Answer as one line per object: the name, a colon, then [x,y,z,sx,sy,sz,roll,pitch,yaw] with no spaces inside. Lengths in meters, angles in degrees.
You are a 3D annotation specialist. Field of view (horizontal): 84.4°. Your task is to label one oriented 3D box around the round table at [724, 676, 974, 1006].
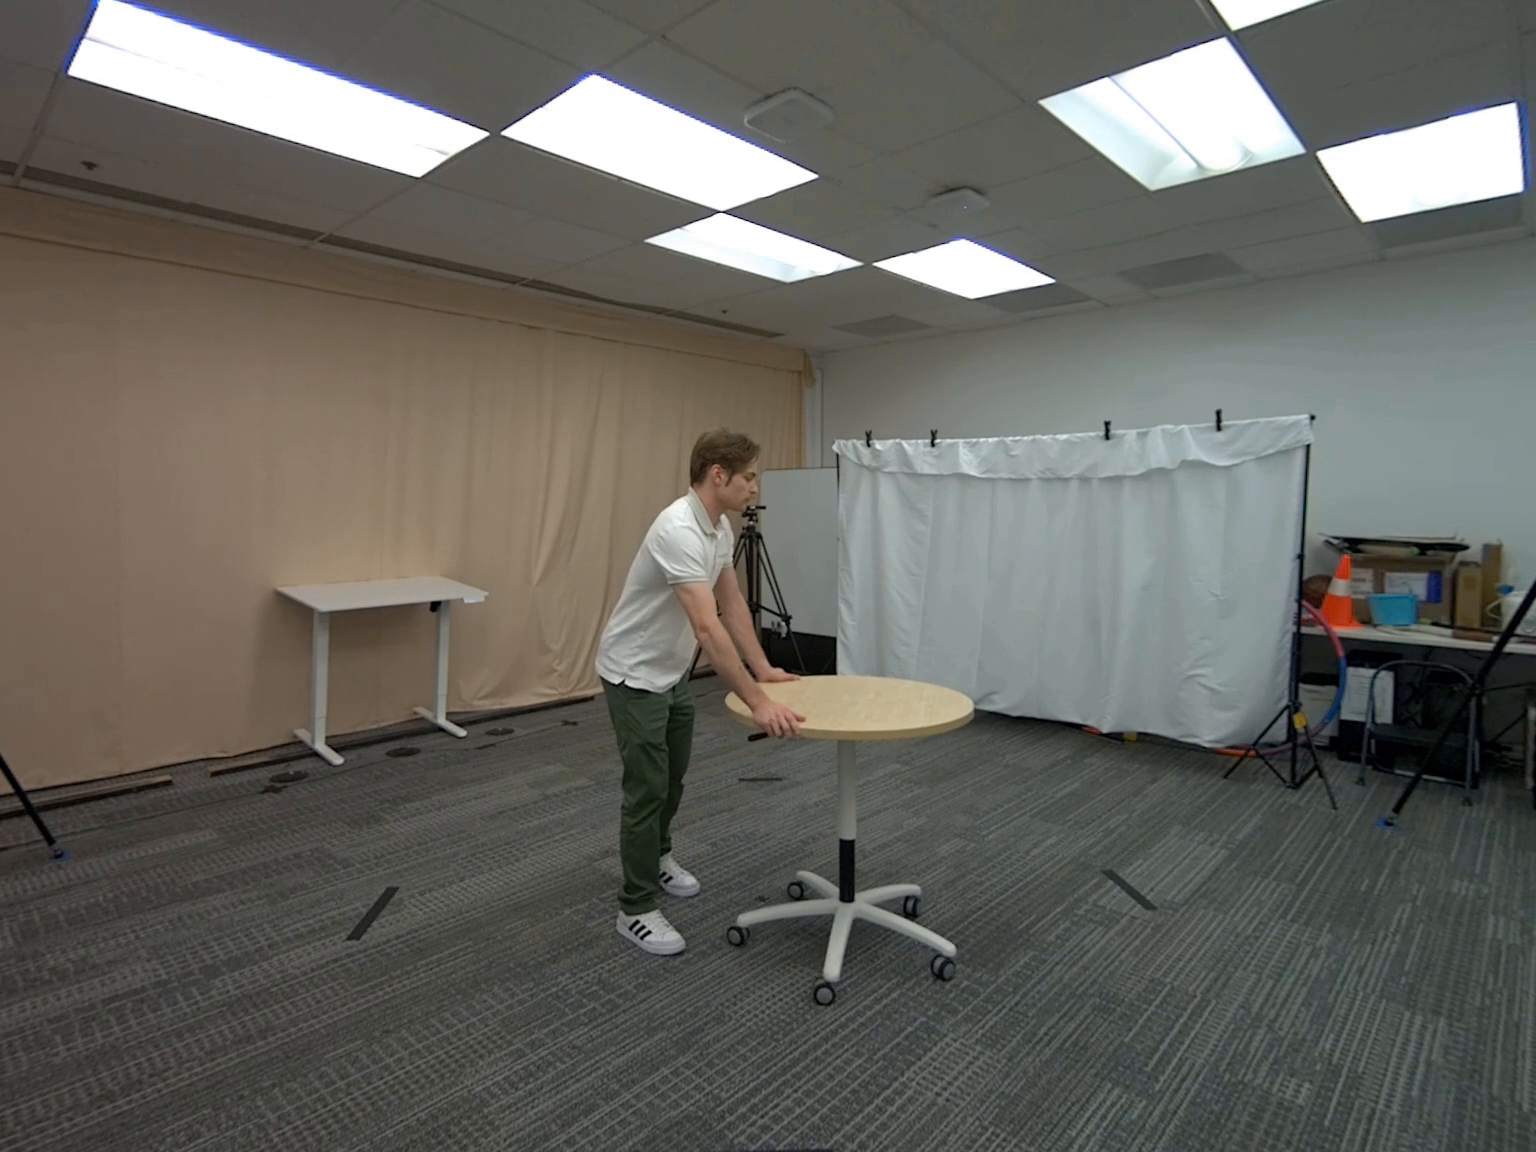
round table: [0.260,0.784,2.654,0.763,0.792,0.766,-1,4,-2]
